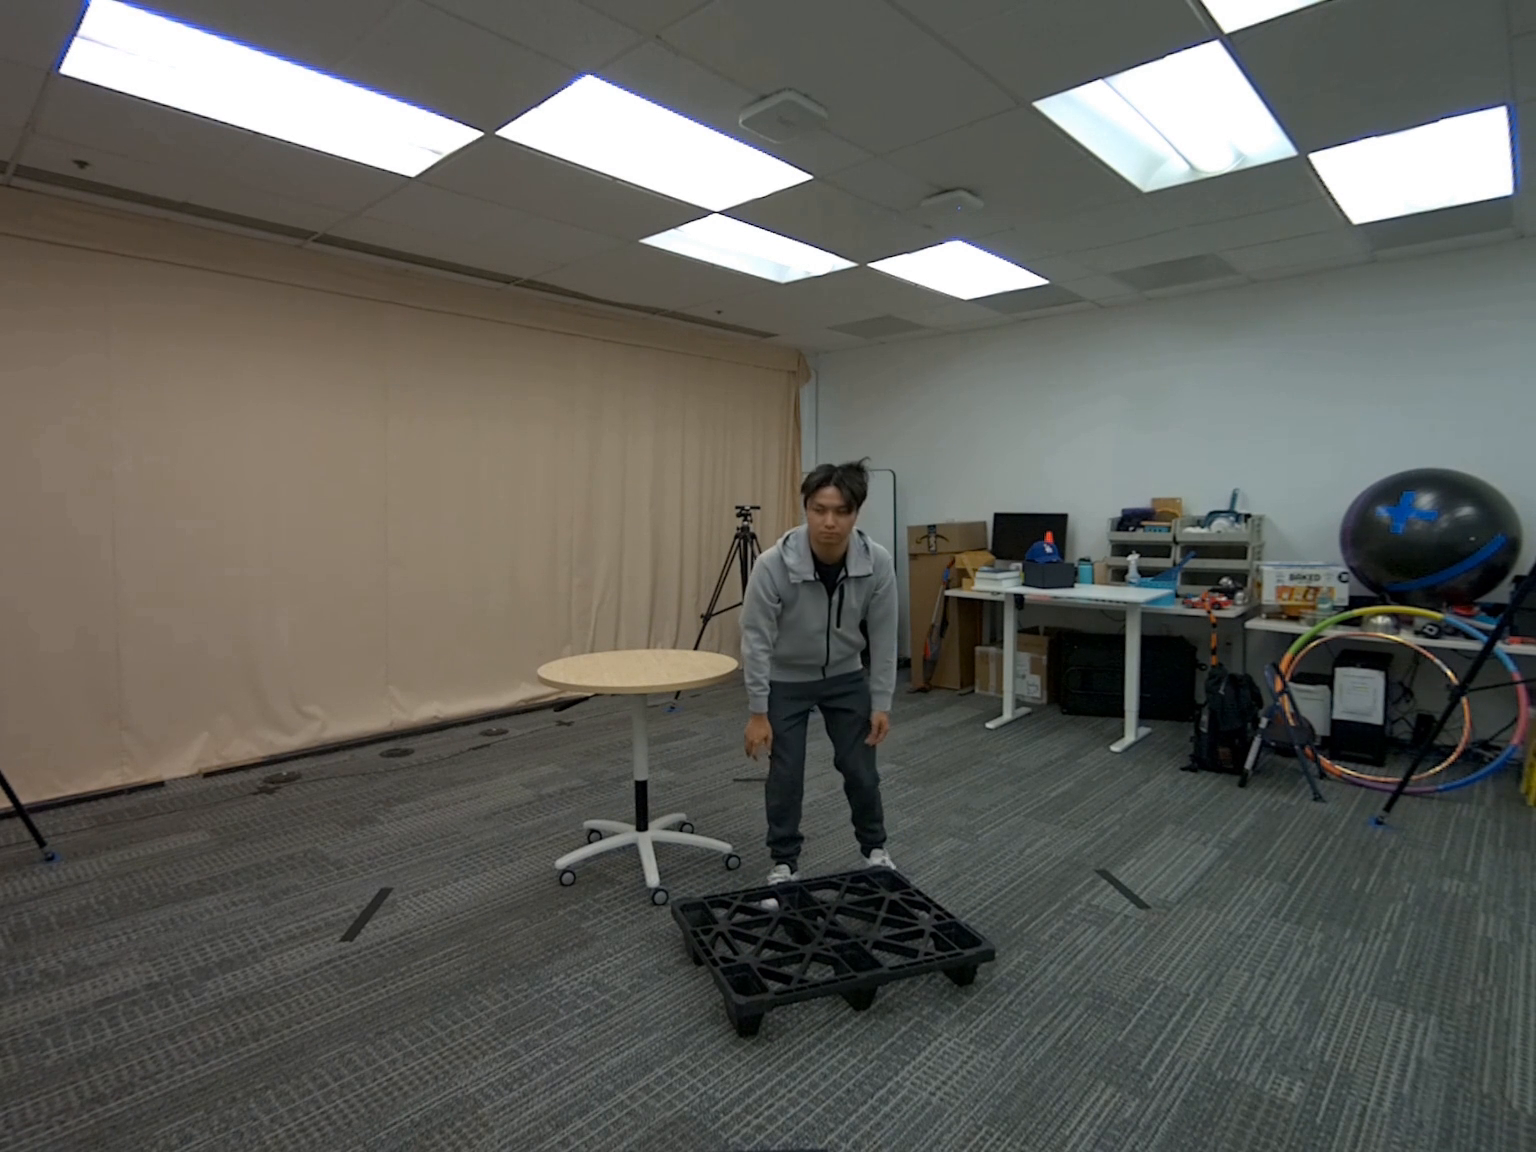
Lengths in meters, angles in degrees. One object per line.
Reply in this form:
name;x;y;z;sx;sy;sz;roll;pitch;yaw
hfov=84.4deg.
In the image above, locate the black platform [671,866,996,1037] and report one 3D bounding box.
black platform;0.168;1.114;2.541;0.789;0.143;0.619;-2;5;-21
